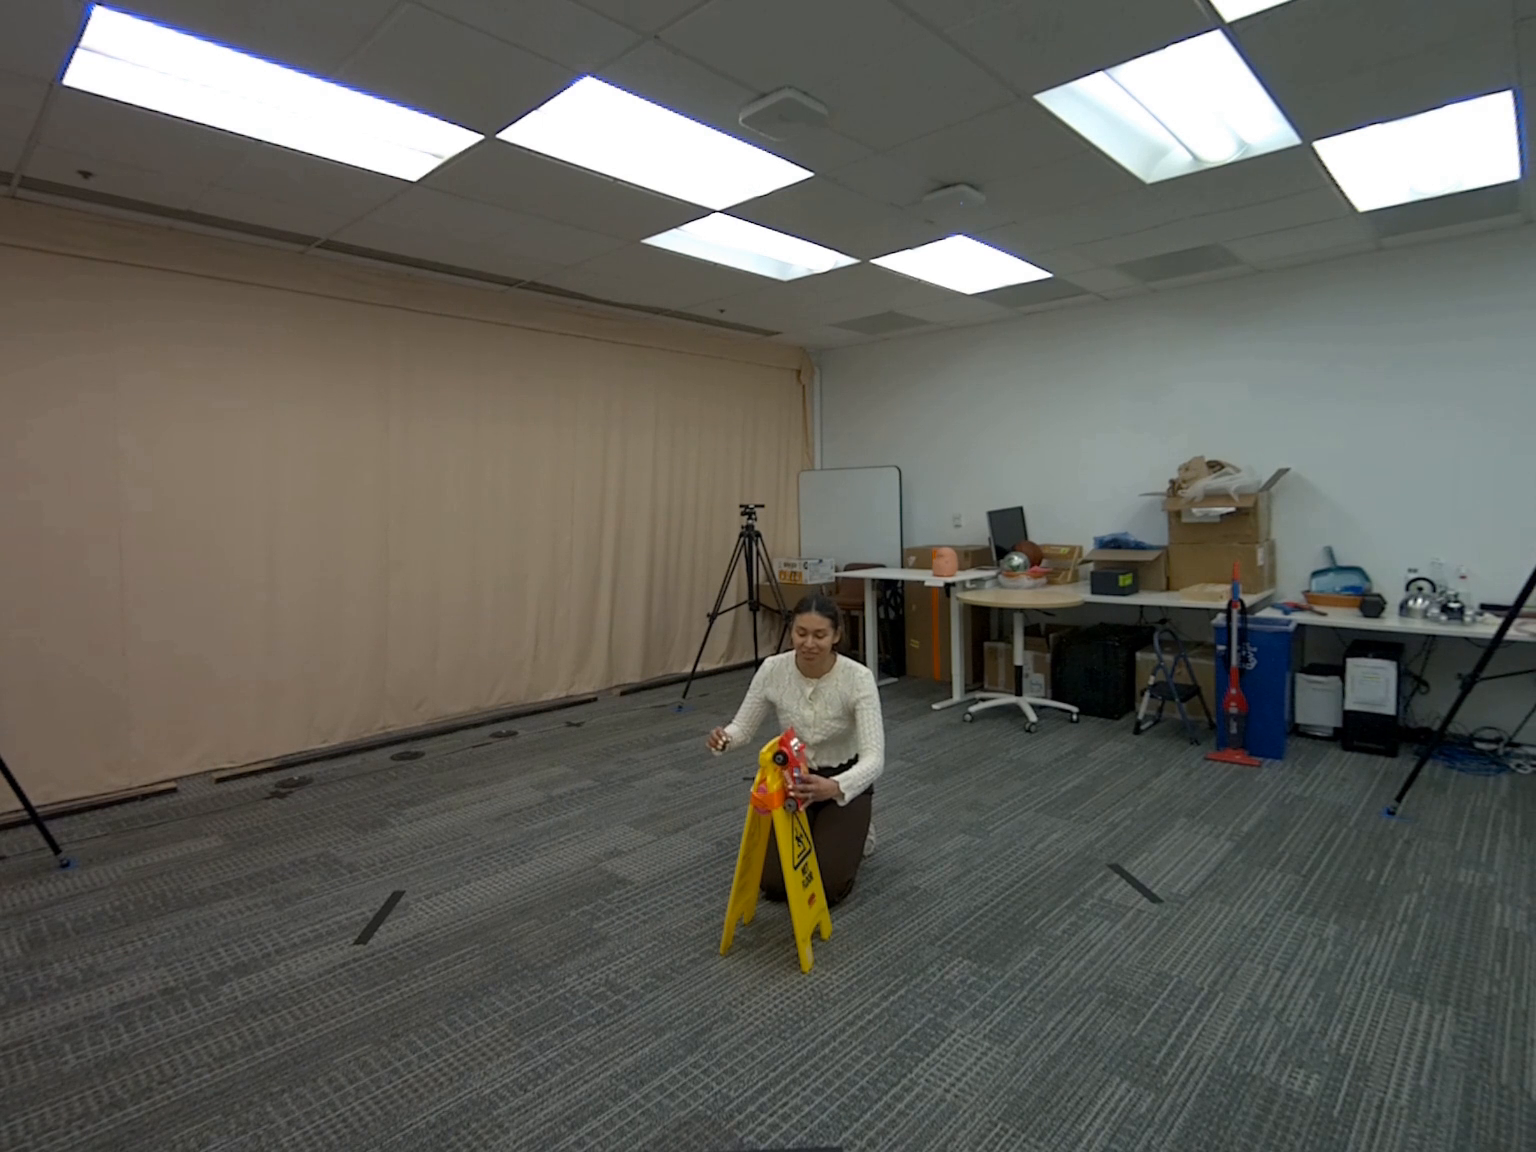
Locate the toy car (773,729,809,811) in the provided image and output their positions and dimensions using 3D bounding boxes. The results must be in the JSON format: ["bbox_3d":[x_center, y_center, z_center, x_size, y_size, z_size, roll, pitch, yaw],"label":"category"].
[{"bbox_3d":[0.079,0.595,2.618,0.085,0.254,0.128,0,5,17],"label":"toy car"}]
